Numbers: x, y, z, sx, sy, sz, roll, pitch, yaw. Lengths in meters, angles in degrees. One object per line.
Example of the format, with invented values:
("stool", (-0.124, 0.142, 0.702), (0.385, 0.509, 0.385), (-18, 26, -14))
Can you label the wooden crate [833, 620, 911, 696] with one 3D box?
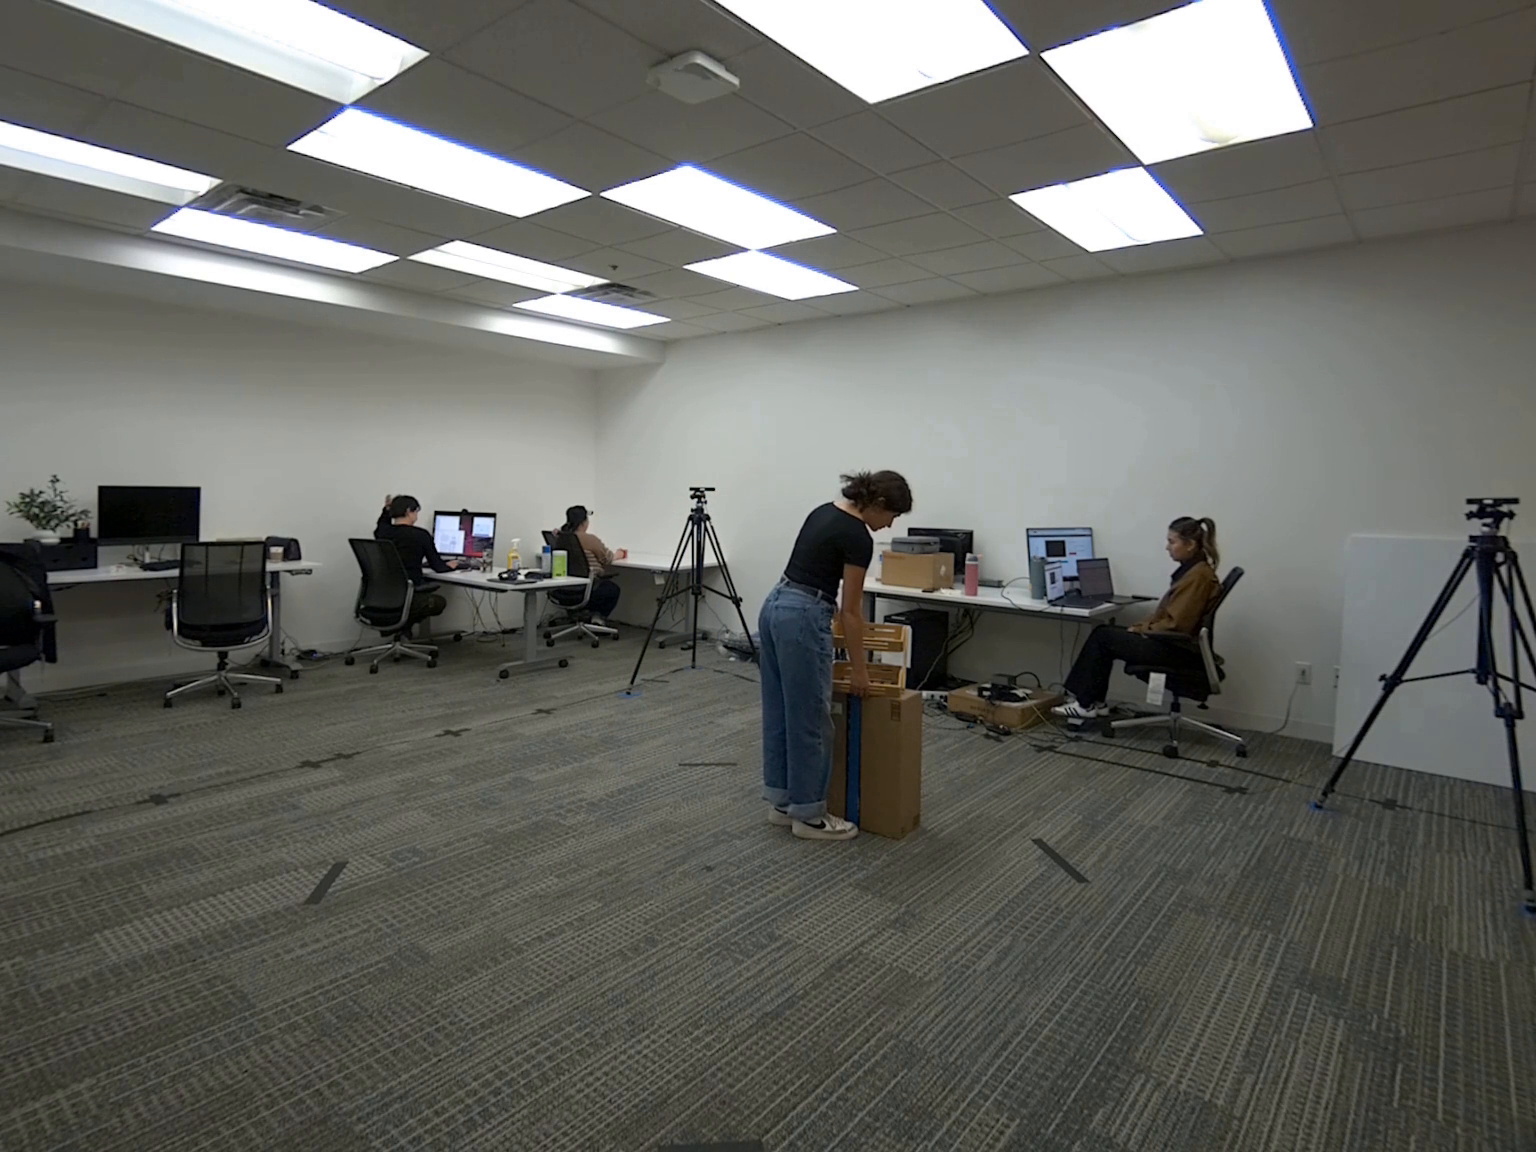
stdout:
("wooden crate", (0.408, 0.336, 3.551), (0.329, 0.273, 0.298), (2, 2, 13))
